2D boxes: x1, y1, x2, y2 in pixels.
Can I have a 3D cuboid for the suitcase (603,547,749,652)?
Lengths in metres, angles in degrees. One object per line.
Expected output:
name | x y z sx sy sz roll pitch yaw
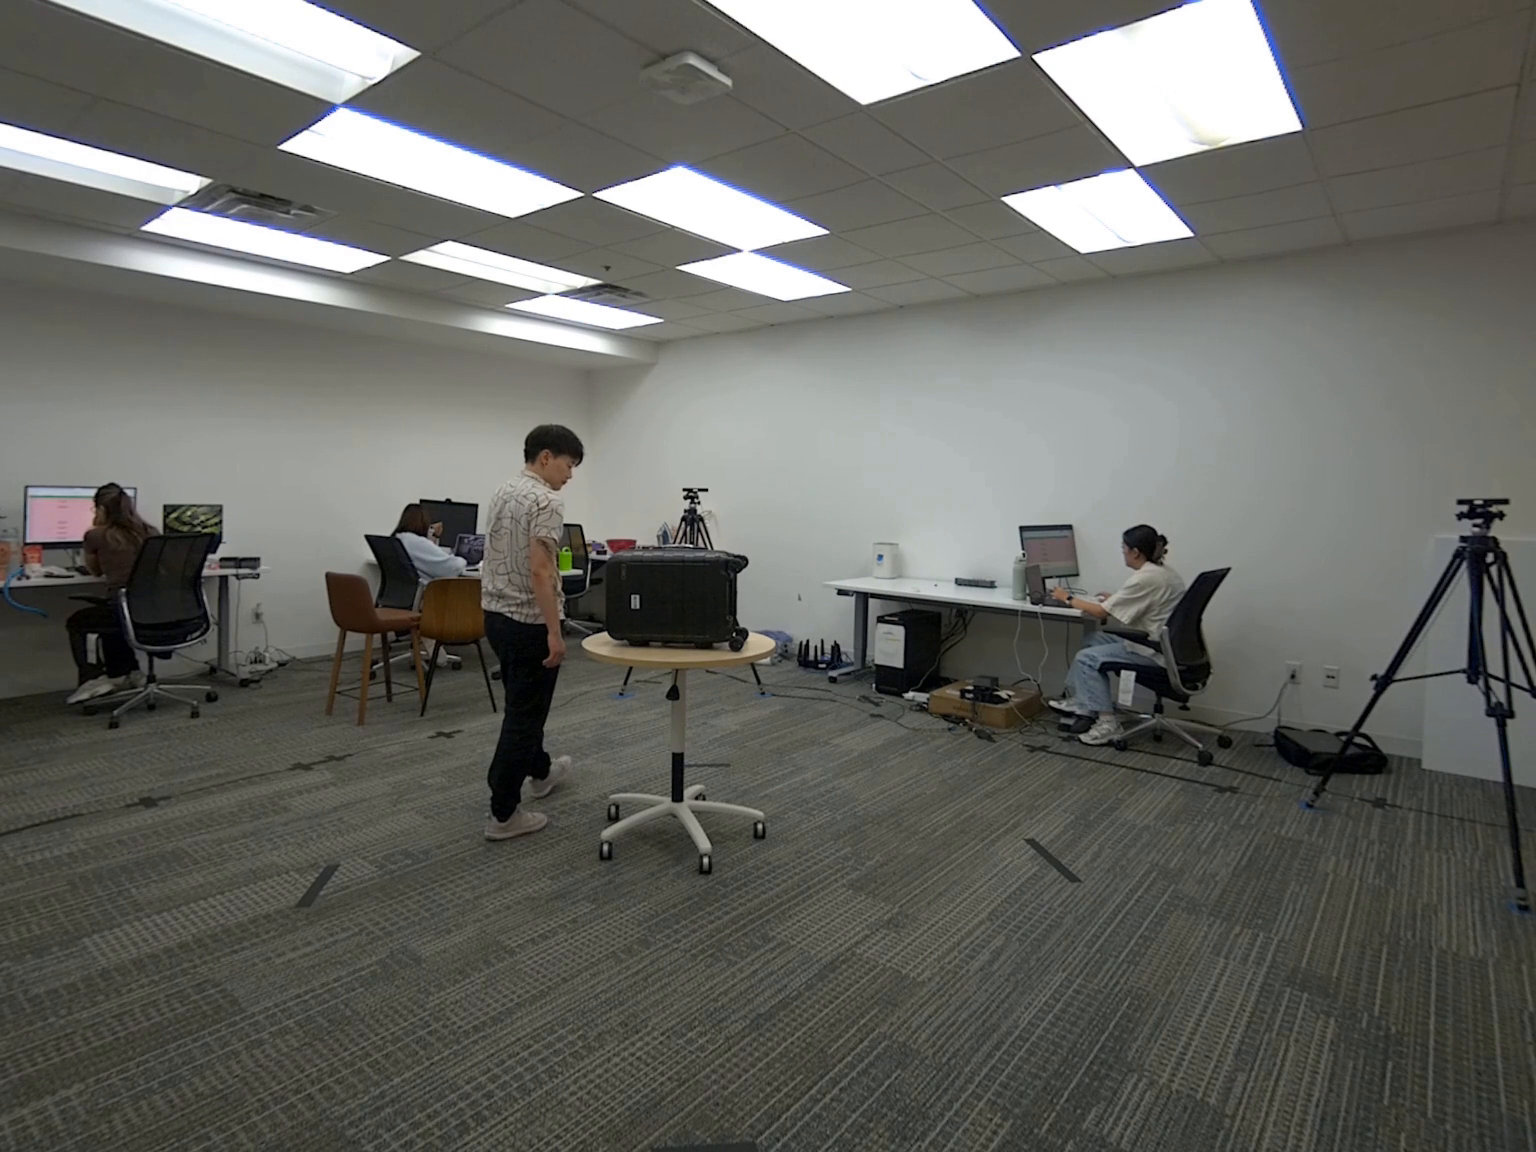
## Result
suitcase | -0.370 0.074 3.321 0.554 0.374 0.247 2 5 7
